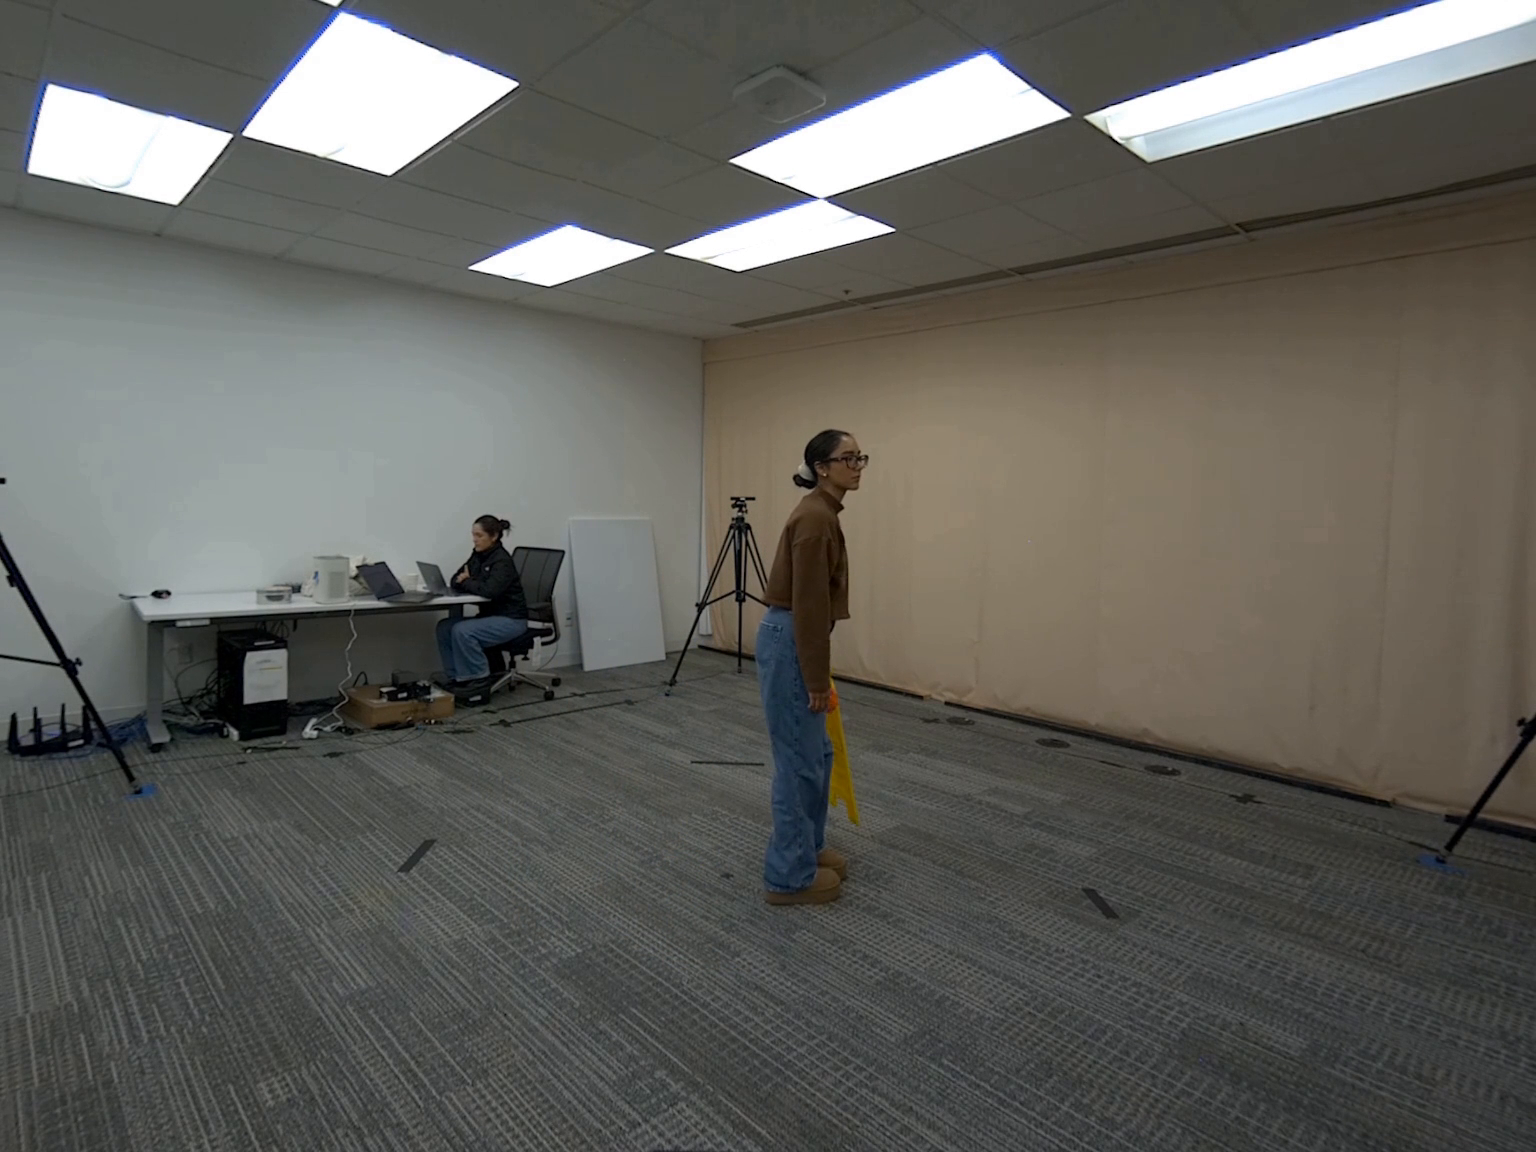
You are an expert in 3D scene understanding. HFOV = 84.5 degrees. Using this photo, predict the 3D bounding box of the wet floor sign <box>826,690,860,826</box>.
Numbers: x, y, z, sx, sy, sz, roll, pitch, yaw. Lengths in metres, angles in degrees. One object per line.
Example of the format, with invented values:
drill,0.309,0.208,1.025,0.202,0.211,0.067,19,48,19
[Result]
wet floor sign,0.187,0.658,3.390,0.286,0.644,0.287,0,4,-19
